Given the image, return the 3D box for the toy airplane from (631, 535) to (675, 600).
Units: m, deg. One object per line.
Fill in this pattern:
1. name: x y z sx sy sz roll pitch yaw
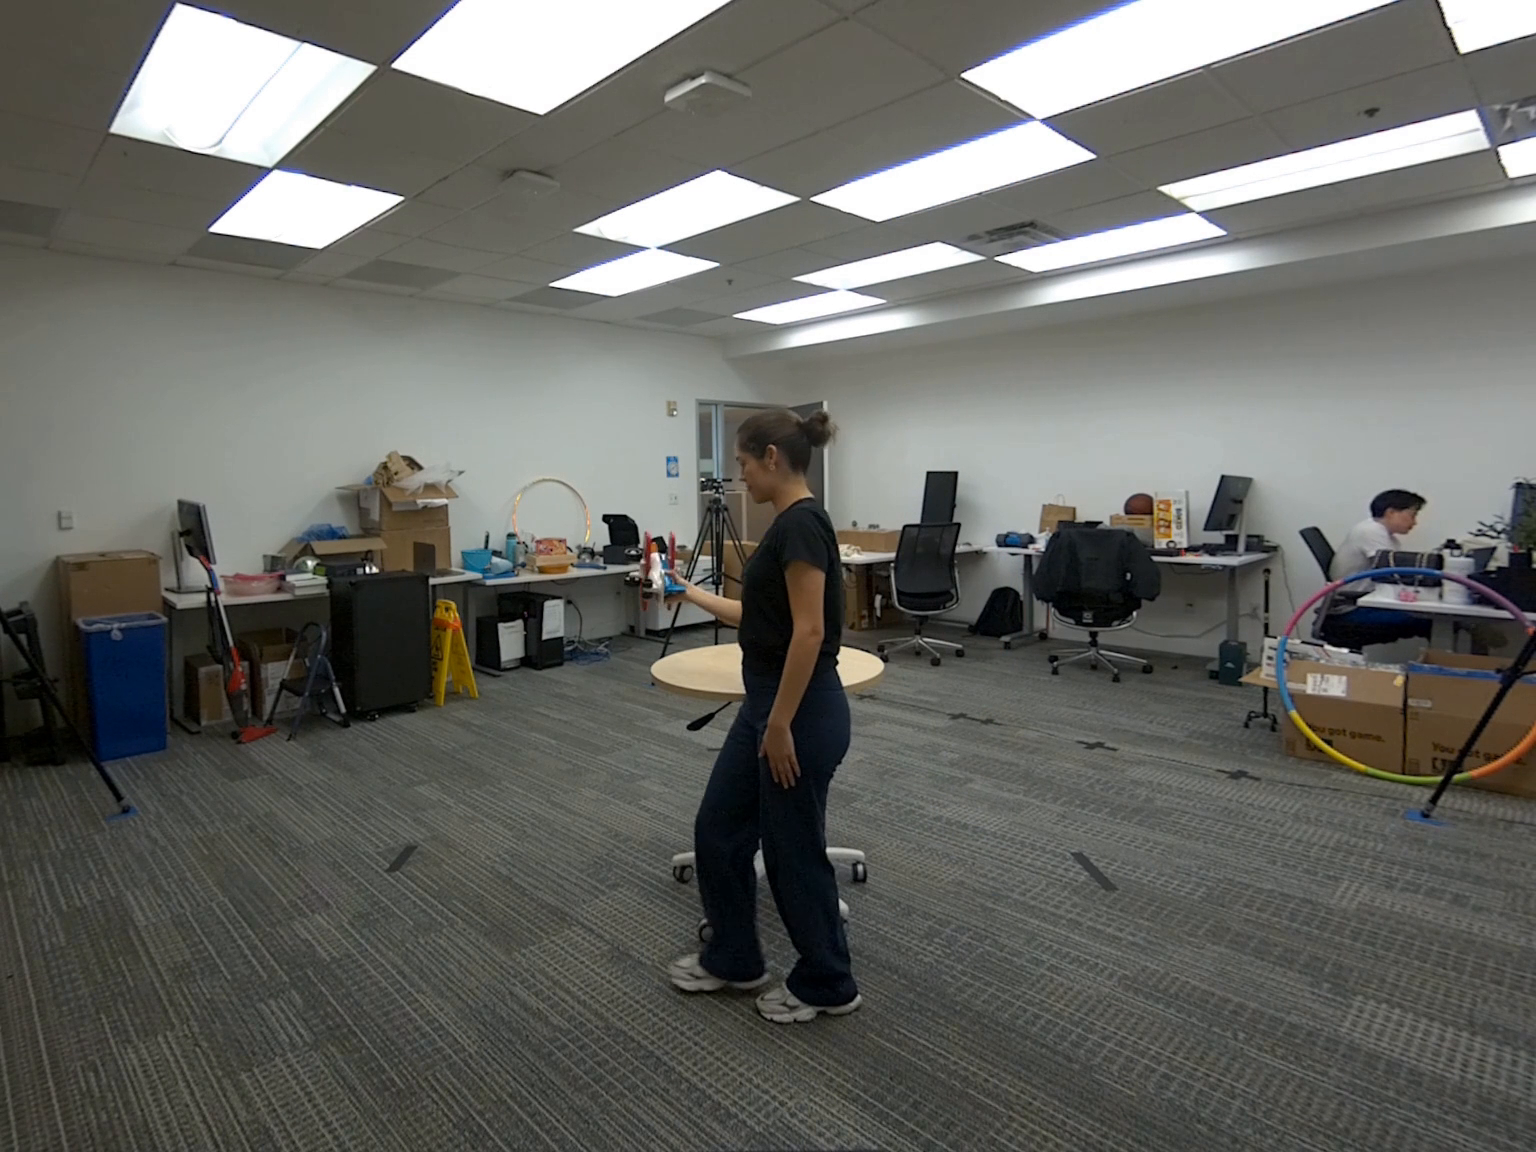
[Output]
1. toy airplane: -0.340 0.012 2.660 0.153 0.247 0.269 -5 48 -24
